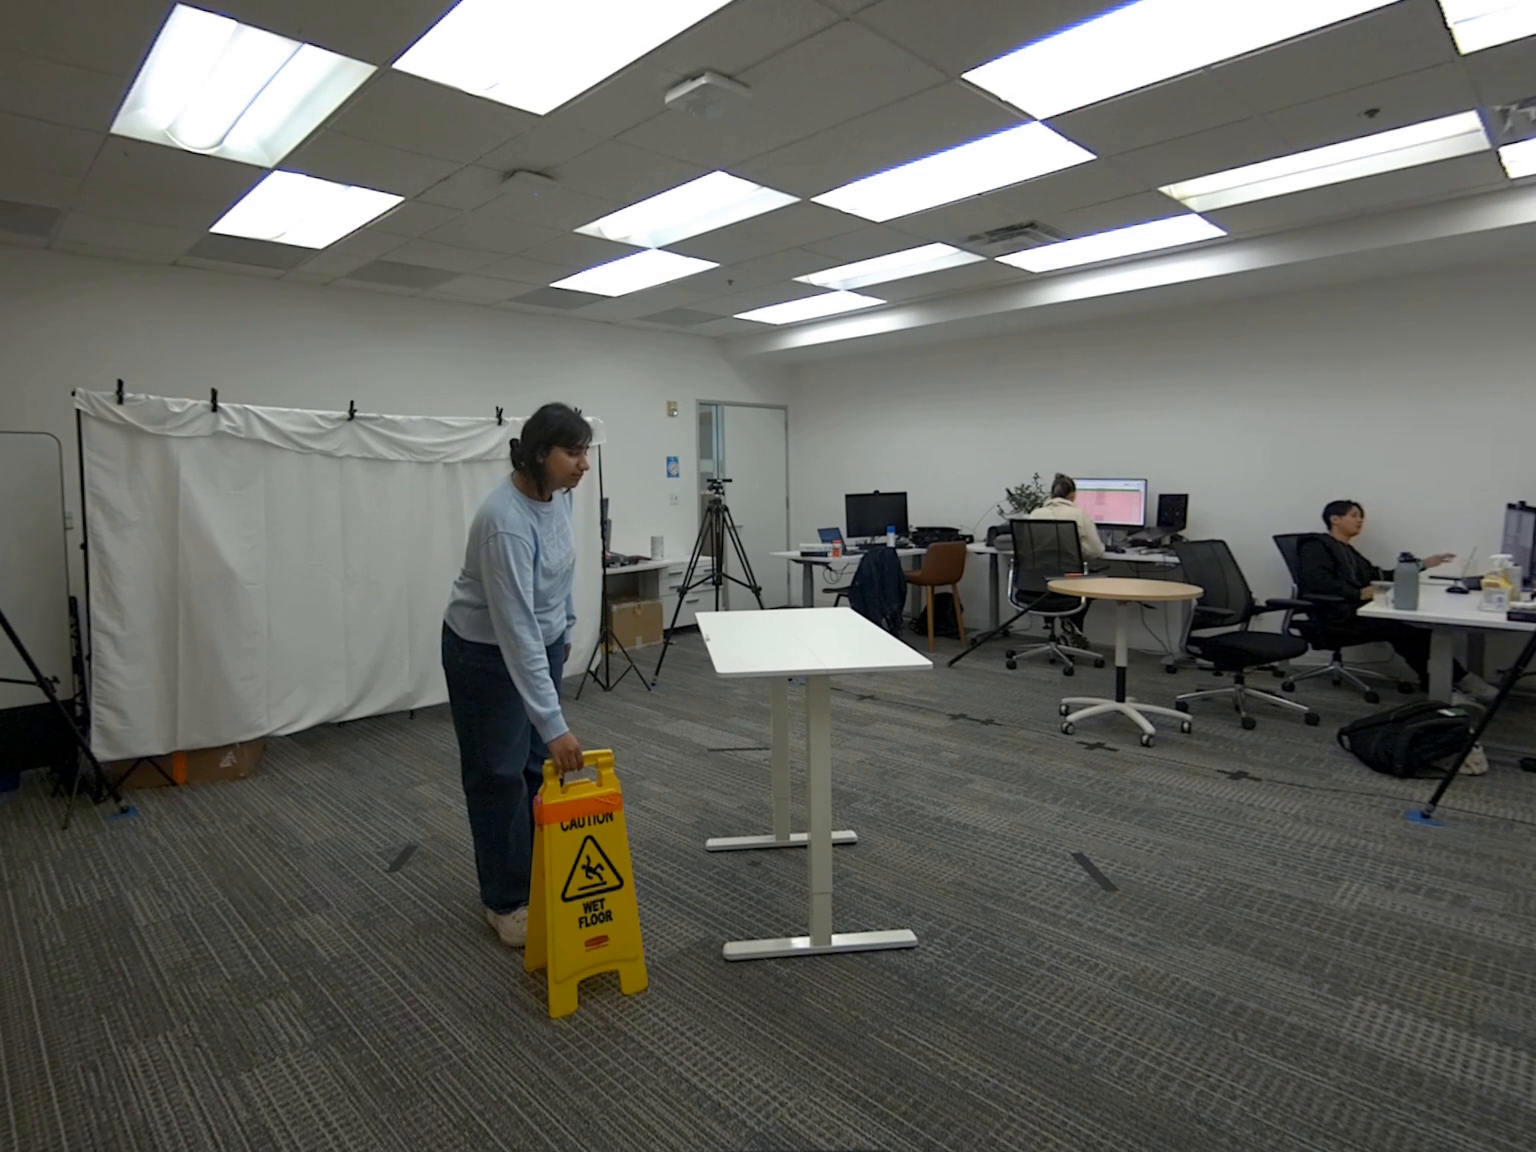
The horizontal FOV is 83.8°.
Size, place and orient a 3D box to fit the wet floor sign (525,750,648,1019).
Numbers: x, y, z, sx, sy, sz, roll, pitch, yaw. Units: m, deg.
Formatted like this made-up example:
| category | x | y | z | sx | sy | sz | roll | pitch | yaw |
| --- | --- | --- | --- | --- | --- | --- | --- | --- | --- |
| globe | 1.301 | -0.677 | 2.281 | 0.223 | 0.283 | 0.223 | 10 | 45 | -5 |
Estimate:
| category | x | y | z | sx | sy | sz | roll | pitch | yaw |
| --- | --- | --- | --- | --- | --- | --- | --- | --- | --- |
| wet floor sign | -0.518 | 0.815 | 2.382 | 0.276 | 0.643 | 0.298 | -4 | 6 | -28 |
